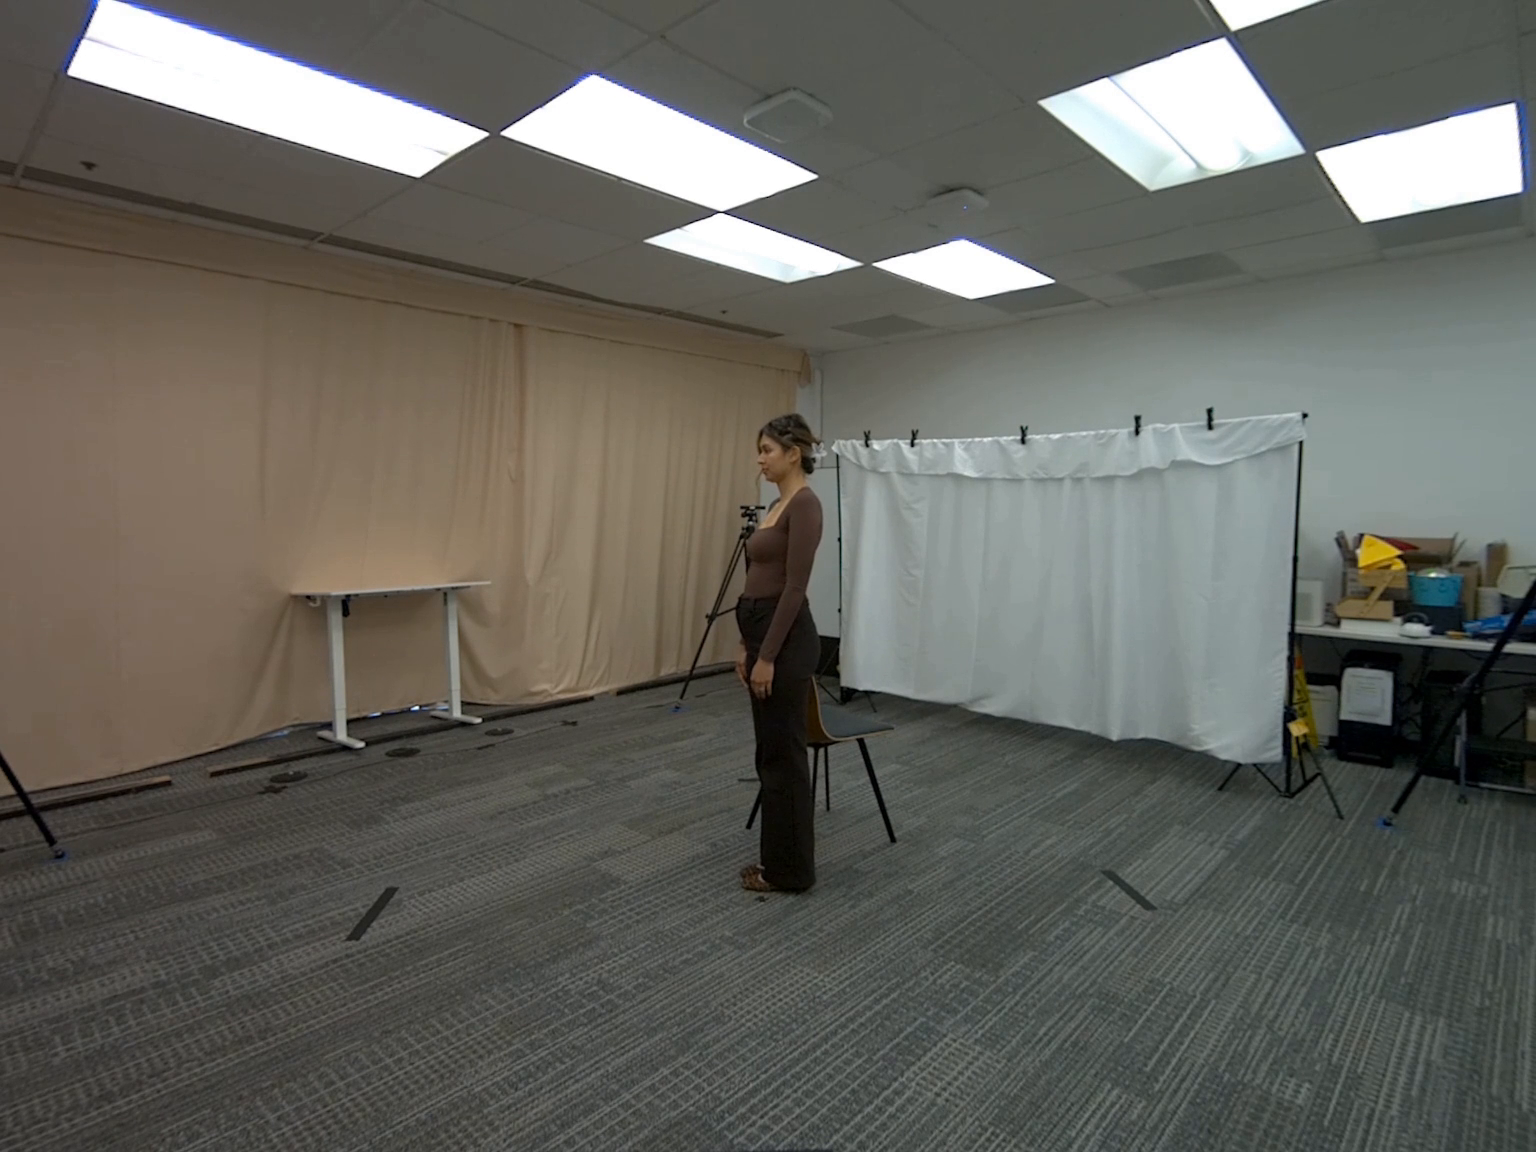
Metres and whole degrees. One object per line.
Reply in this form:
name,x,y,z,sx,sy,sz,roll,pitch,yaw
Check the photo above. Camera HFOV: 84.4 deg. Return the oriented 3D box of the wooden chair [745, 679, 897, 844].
wooden chair,0.222,0.672,3.536,0.509,0.874,0.492,-7,6,-32
